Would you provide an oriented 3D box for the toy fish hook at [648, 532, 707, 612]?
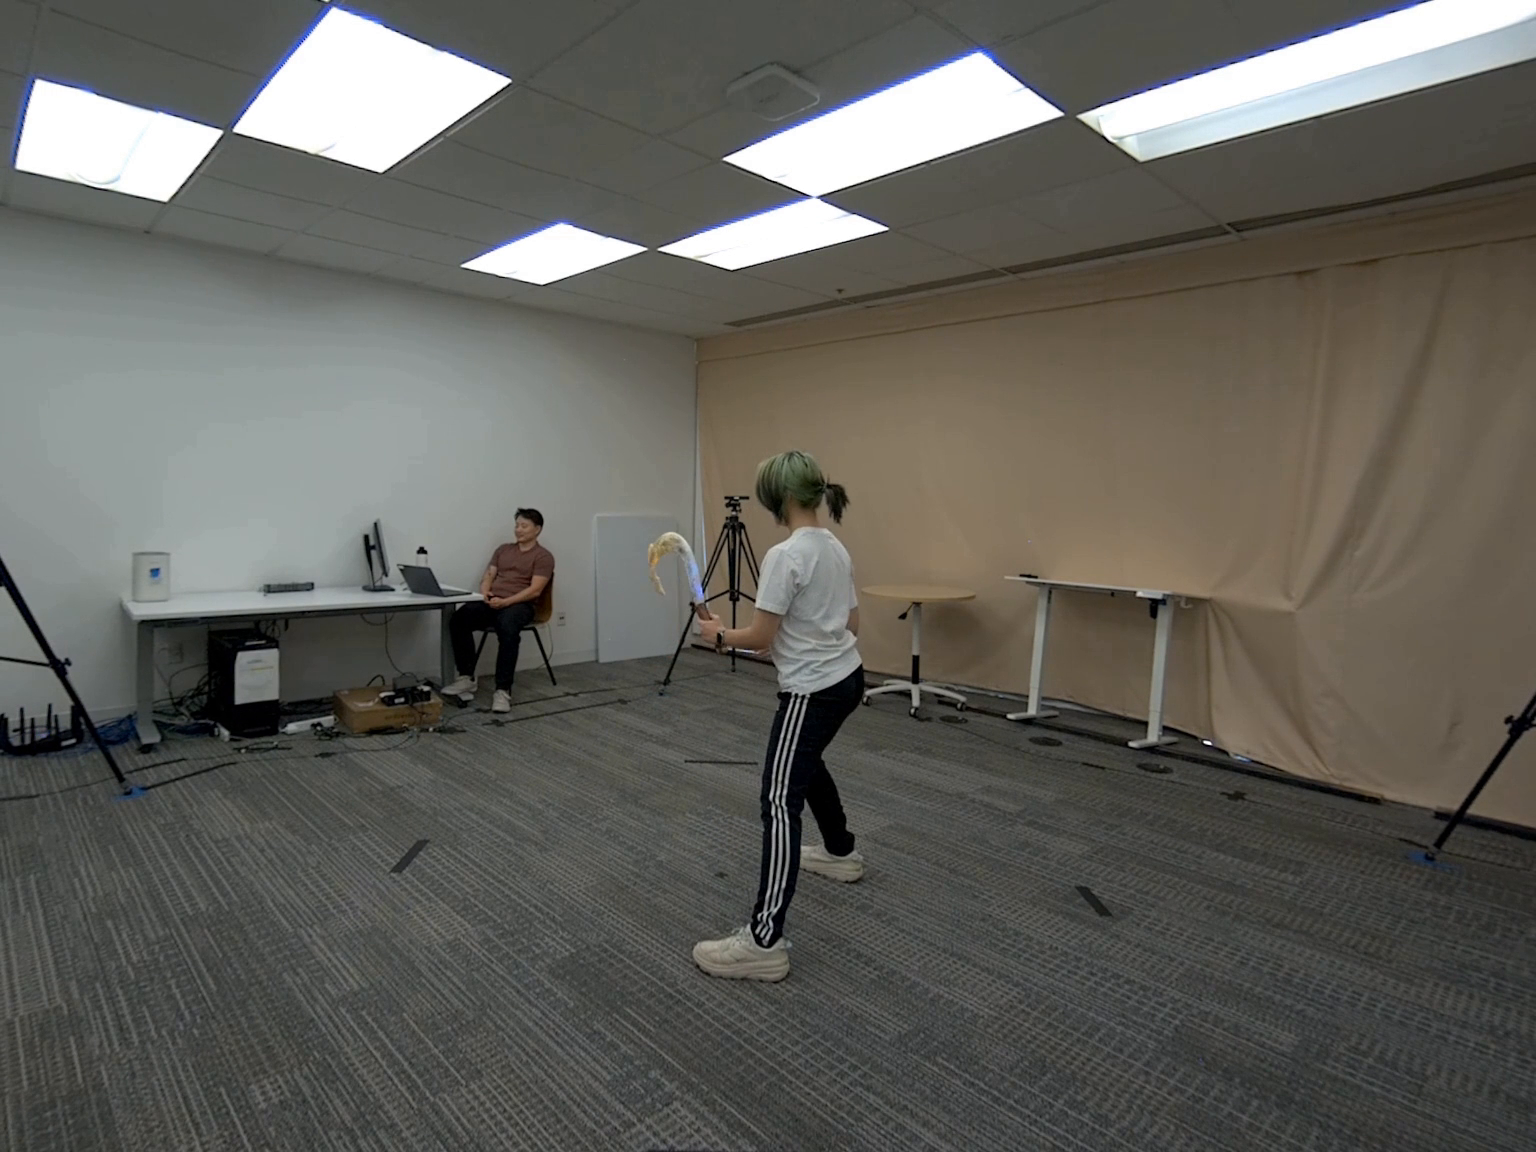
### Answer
[{"bbox_3d":[-0.304,0.087,3.071,0.047,0.516,0.225,-5,-30,-50],"label":"toy fish hook"}]
